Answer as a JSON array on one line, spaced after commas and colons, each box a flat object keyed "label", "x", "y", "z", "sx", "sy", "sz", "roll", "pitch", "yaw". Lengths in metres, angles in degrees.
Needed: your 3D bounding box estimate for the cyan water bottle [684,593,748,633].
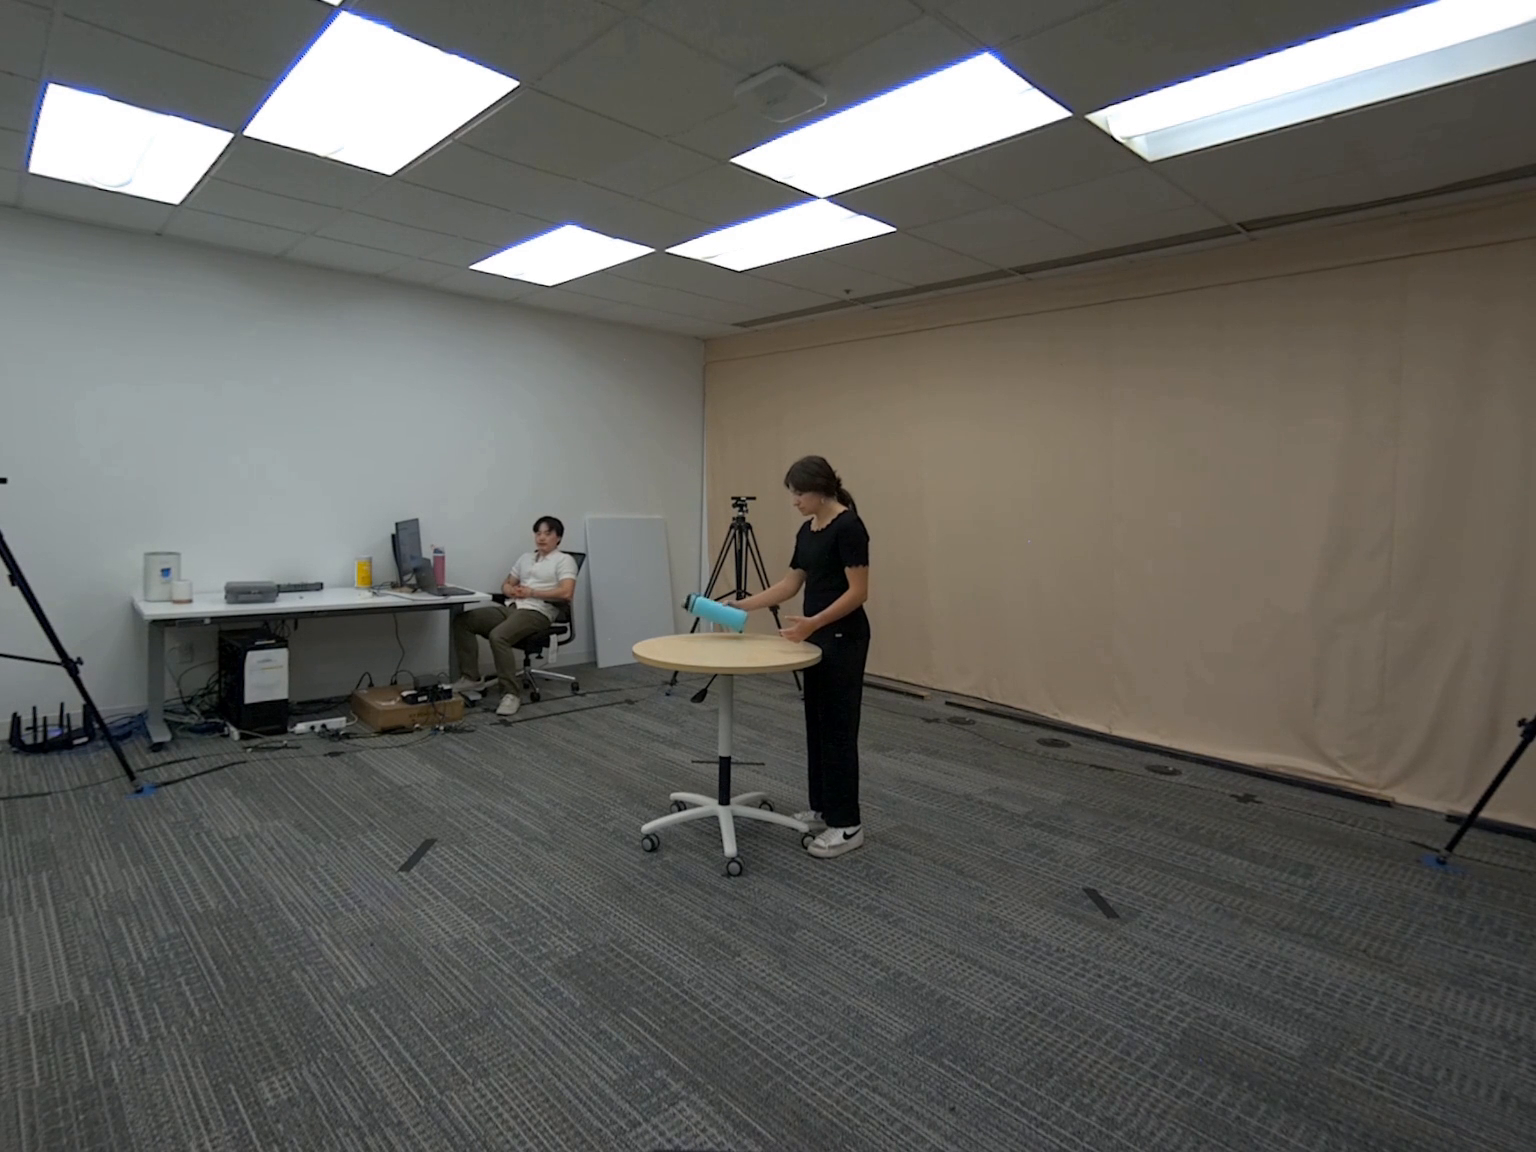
[{"label": "cyan water bottle", "x": -0.239, "y": 0.153, "z": 3.647, "sx": 0.285, "sy": 0.092, "sz": 0.092, "roll": 20, "pitch": 6, "yaw": 5}]
